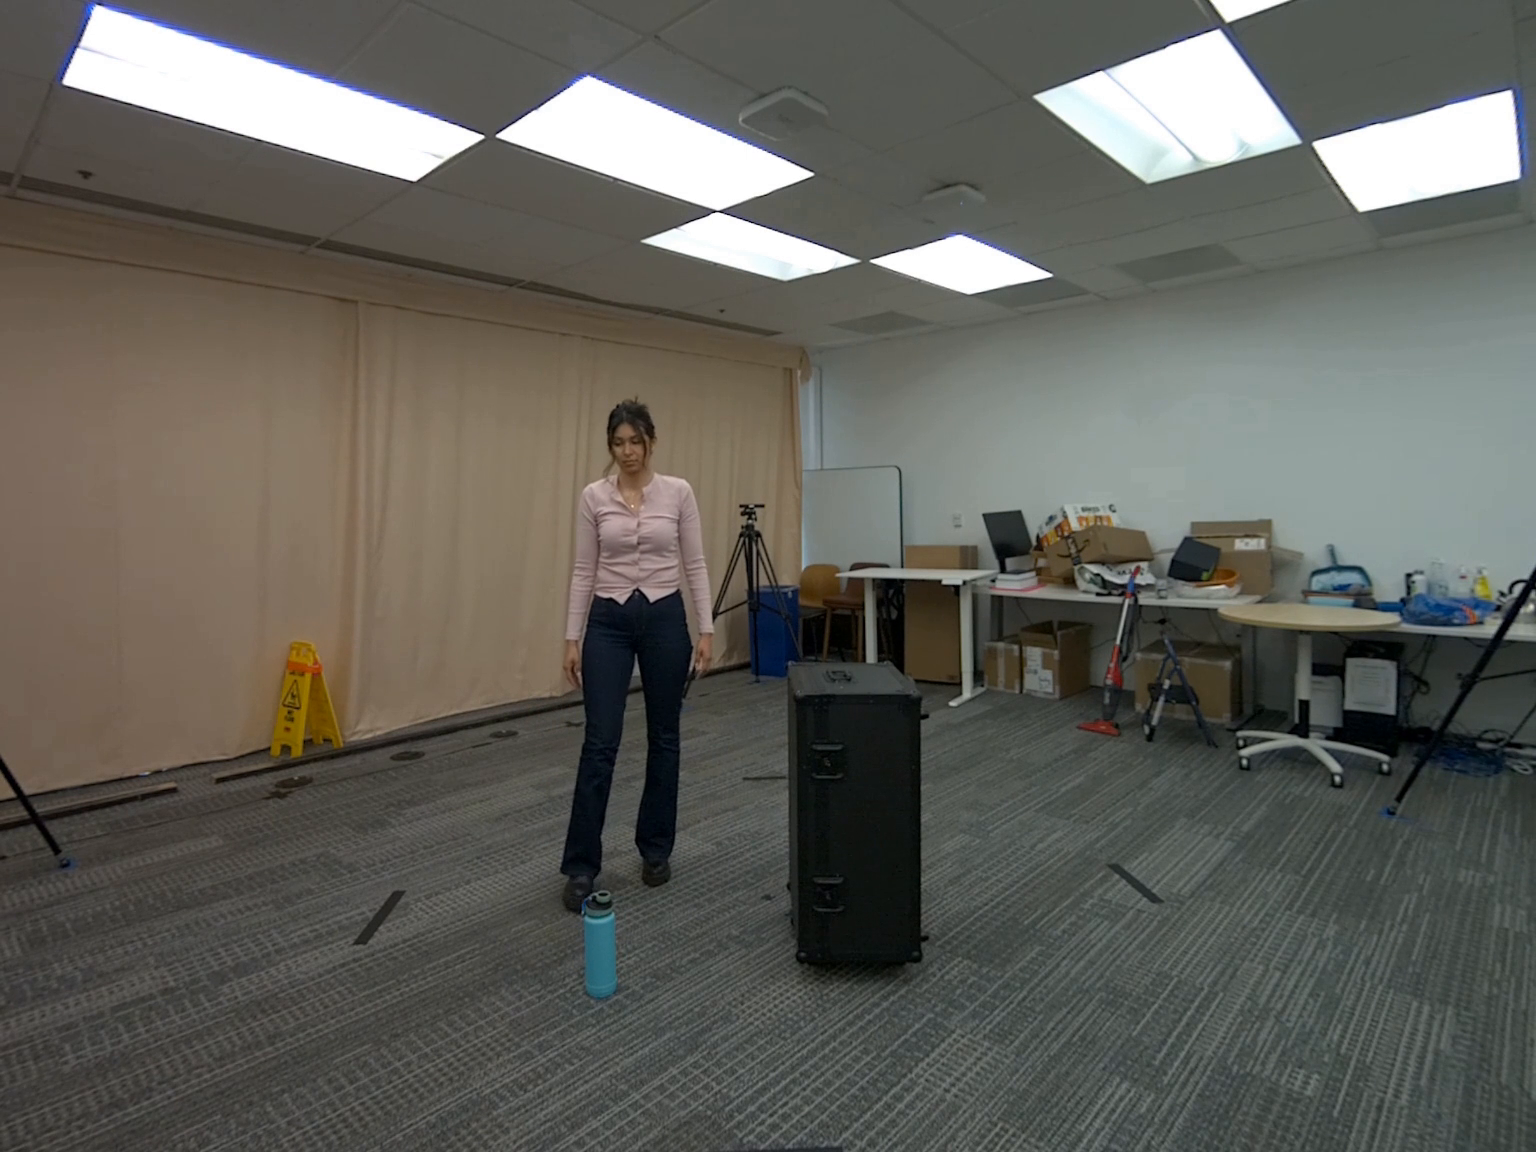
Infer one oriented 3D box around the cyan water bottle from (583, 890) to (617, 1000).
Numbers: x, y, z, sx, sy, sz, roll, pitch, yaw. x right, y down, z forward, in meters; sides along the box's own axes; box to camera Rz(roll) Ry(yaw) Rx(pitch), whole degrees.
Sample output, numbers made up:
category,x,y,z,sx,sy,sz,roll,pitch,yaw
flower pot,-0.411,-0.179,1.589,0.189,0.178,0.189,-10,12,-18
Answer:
category,x,y,z,sx,sy,sz,roll,pitch,yaw
cyan water bottle,-0.483,1.054,2.438,0.092,0.283,0.092,-2,2,-2
